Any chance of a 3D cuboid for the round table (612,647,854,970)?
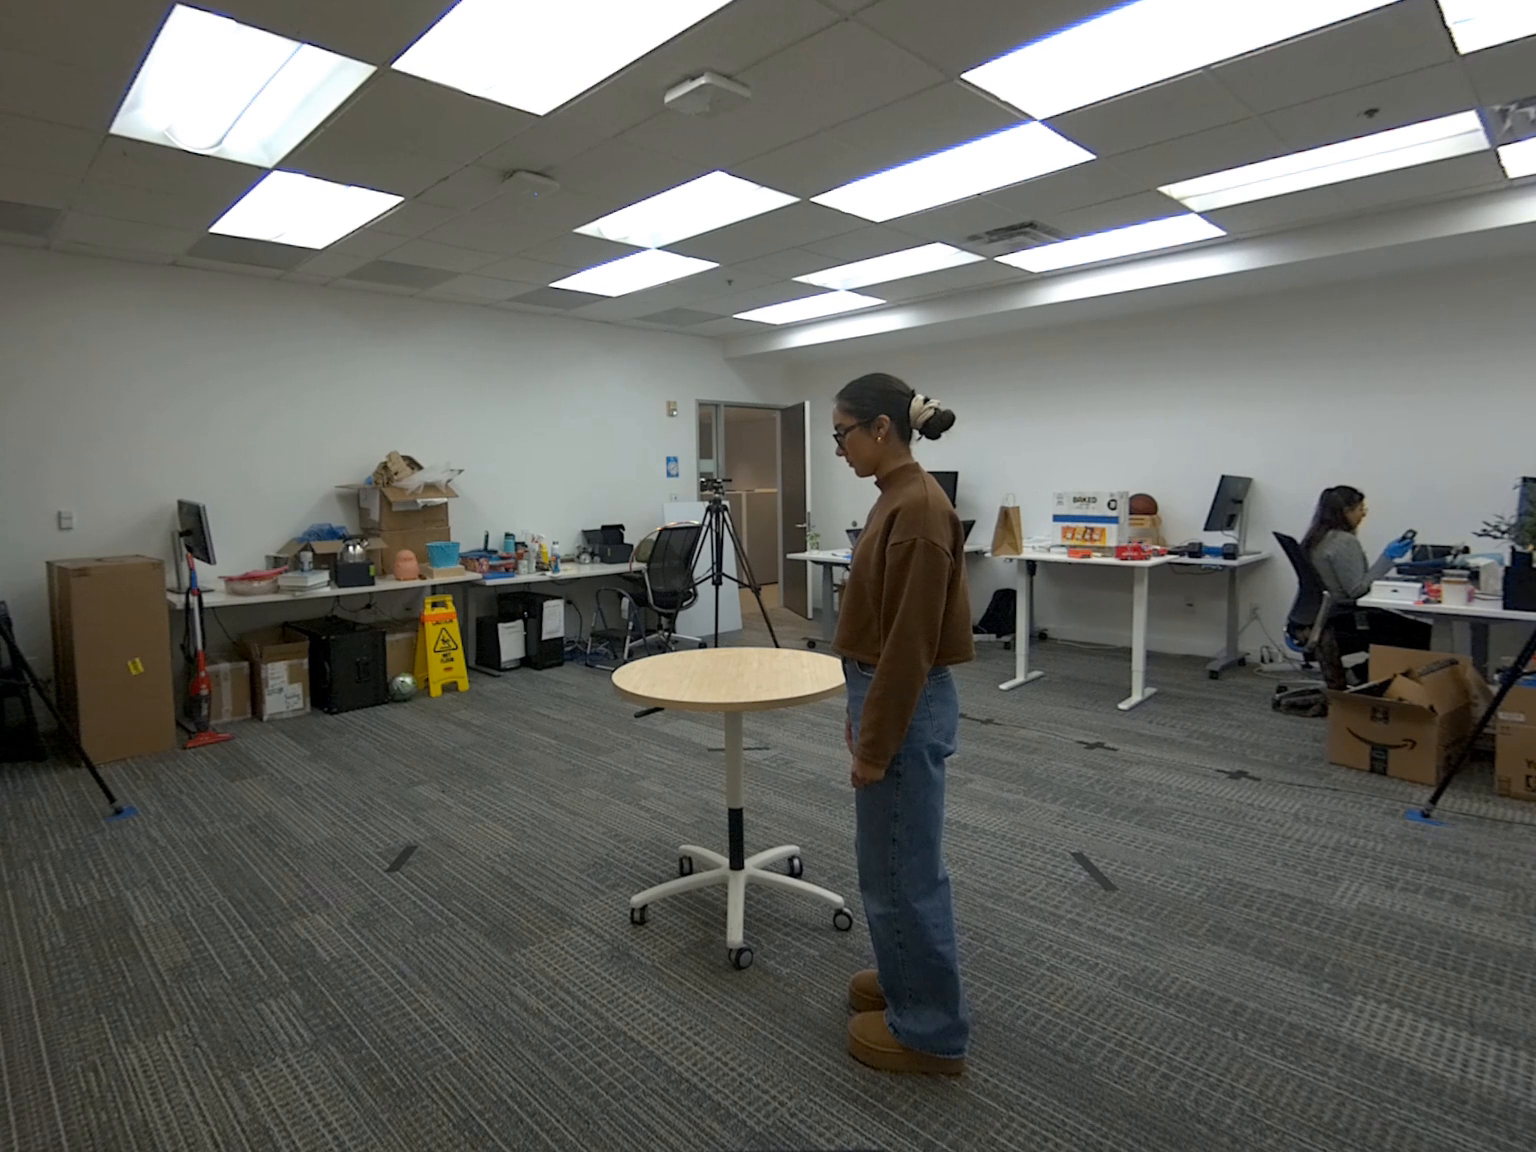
[{"bbox_3d":[-0.104,0.696,2.757,0.763,0.791,0.768,-1,5,-2],"label":"round table"}]
